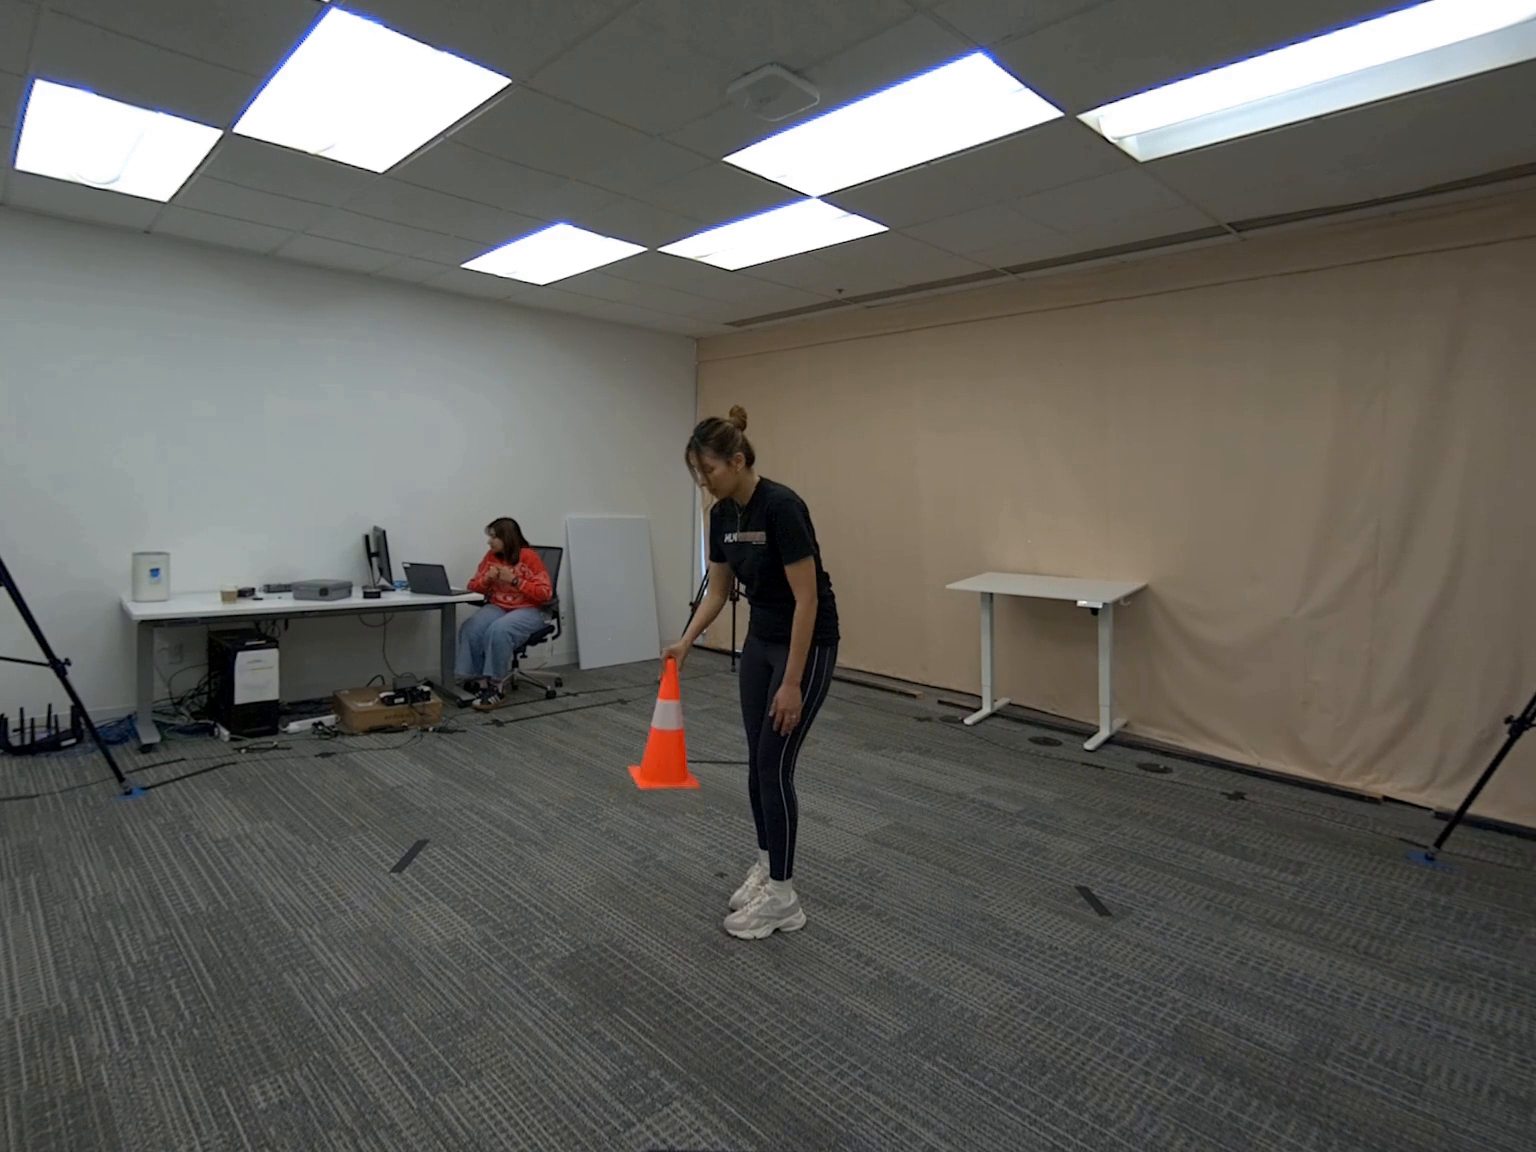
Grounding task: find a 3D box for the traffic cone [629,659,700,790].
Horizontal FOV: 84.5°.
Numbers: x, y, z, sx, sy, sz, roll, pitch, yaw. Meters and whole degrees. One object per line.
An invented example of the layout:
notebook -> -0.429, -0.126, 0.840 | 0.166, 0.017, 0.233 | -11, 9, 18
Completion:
traffic cone -> -0.312, 0.461, 2.701 | 0.200, 0.383, 0.208 | 3, 1, -22
